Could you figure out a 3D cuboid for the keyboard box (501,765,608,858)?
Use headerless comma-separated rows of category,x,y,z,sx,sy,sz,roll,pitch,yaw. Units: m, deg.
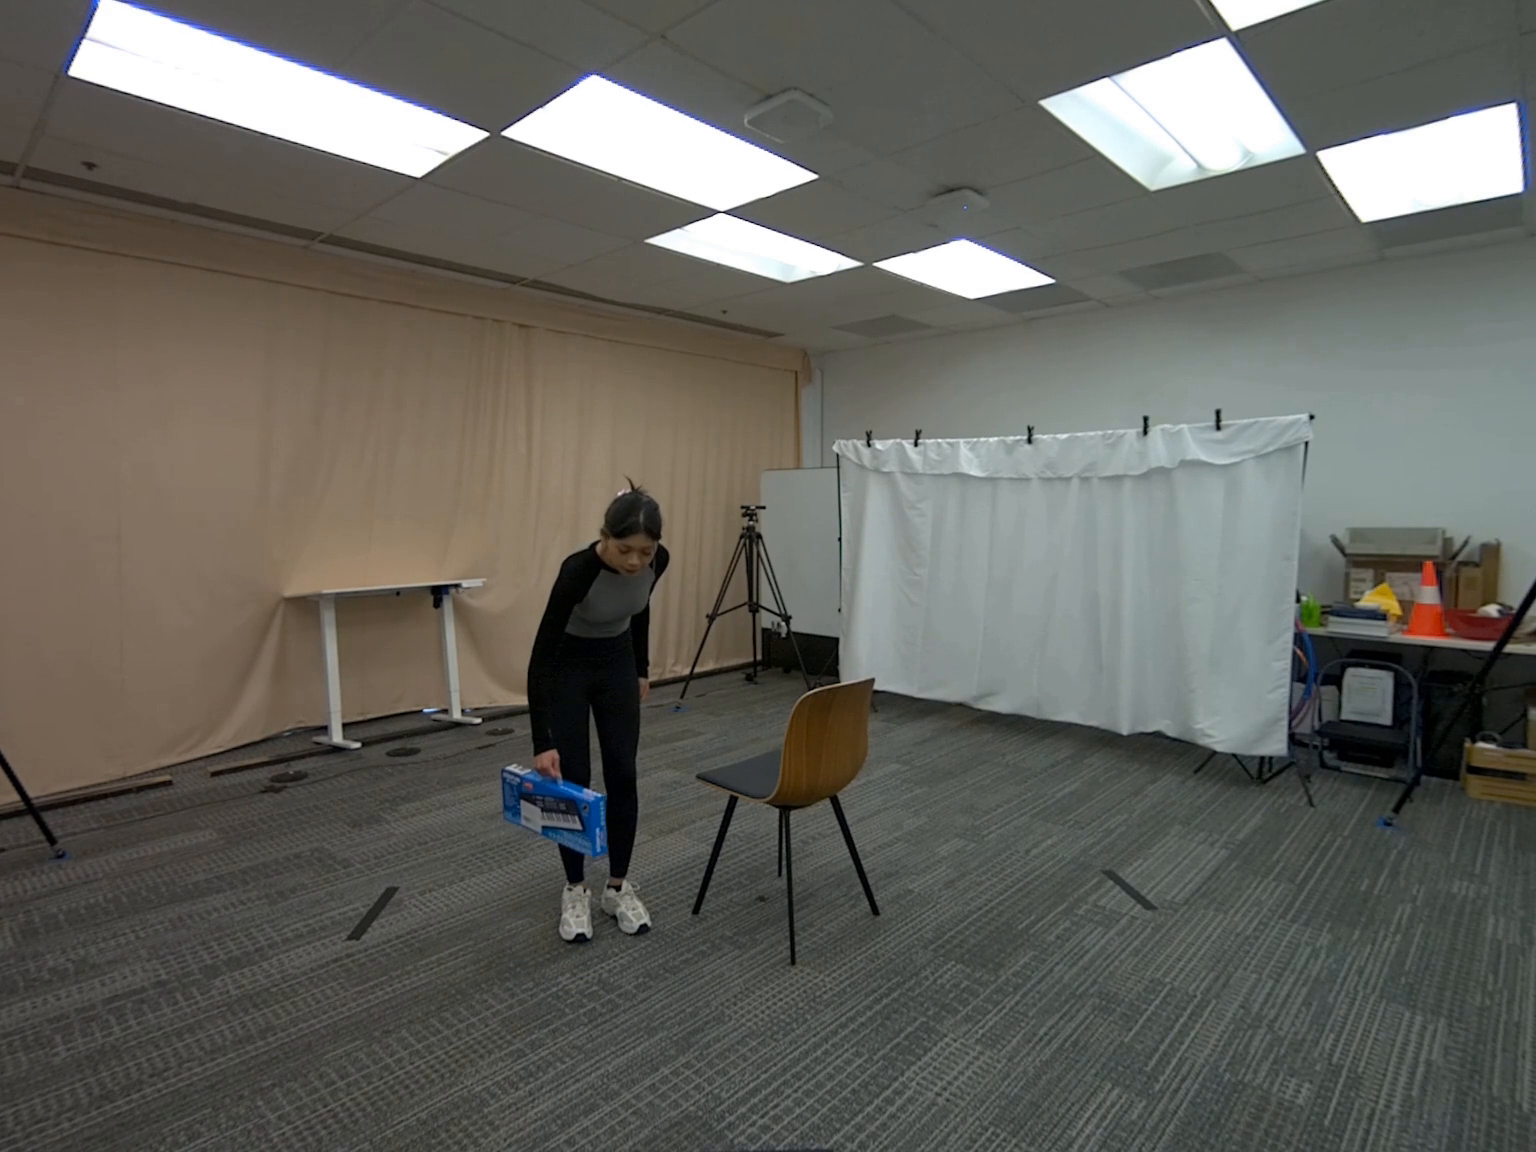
keyboard box,-0.659,0.718,2.592,0.451,0.175,0.057,5,9,39
